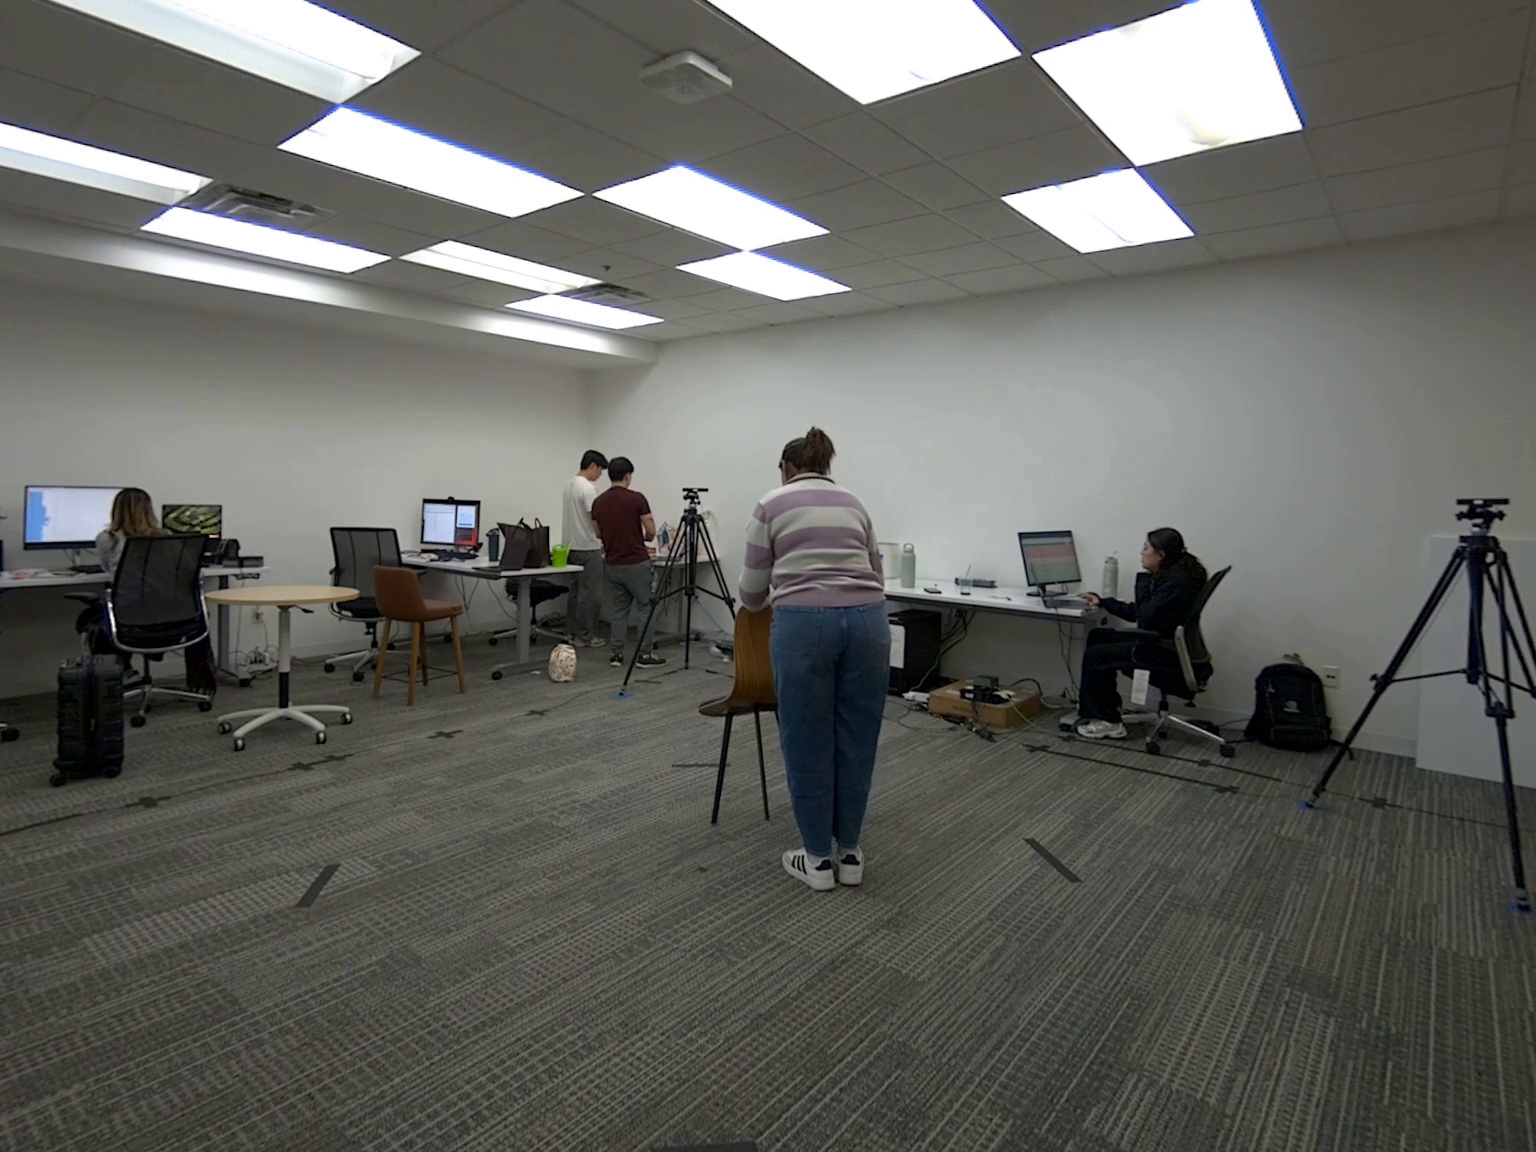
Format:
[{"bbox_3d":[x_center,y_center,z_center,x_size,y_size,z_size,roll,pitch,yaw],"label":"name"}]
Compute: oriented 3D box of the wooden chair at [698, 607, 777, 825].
[{"bbox_3d":[-0.022,0.553,3.567,0.465,0.889,0.530,-1,-13,-30],"label":"wooden chair"}]
